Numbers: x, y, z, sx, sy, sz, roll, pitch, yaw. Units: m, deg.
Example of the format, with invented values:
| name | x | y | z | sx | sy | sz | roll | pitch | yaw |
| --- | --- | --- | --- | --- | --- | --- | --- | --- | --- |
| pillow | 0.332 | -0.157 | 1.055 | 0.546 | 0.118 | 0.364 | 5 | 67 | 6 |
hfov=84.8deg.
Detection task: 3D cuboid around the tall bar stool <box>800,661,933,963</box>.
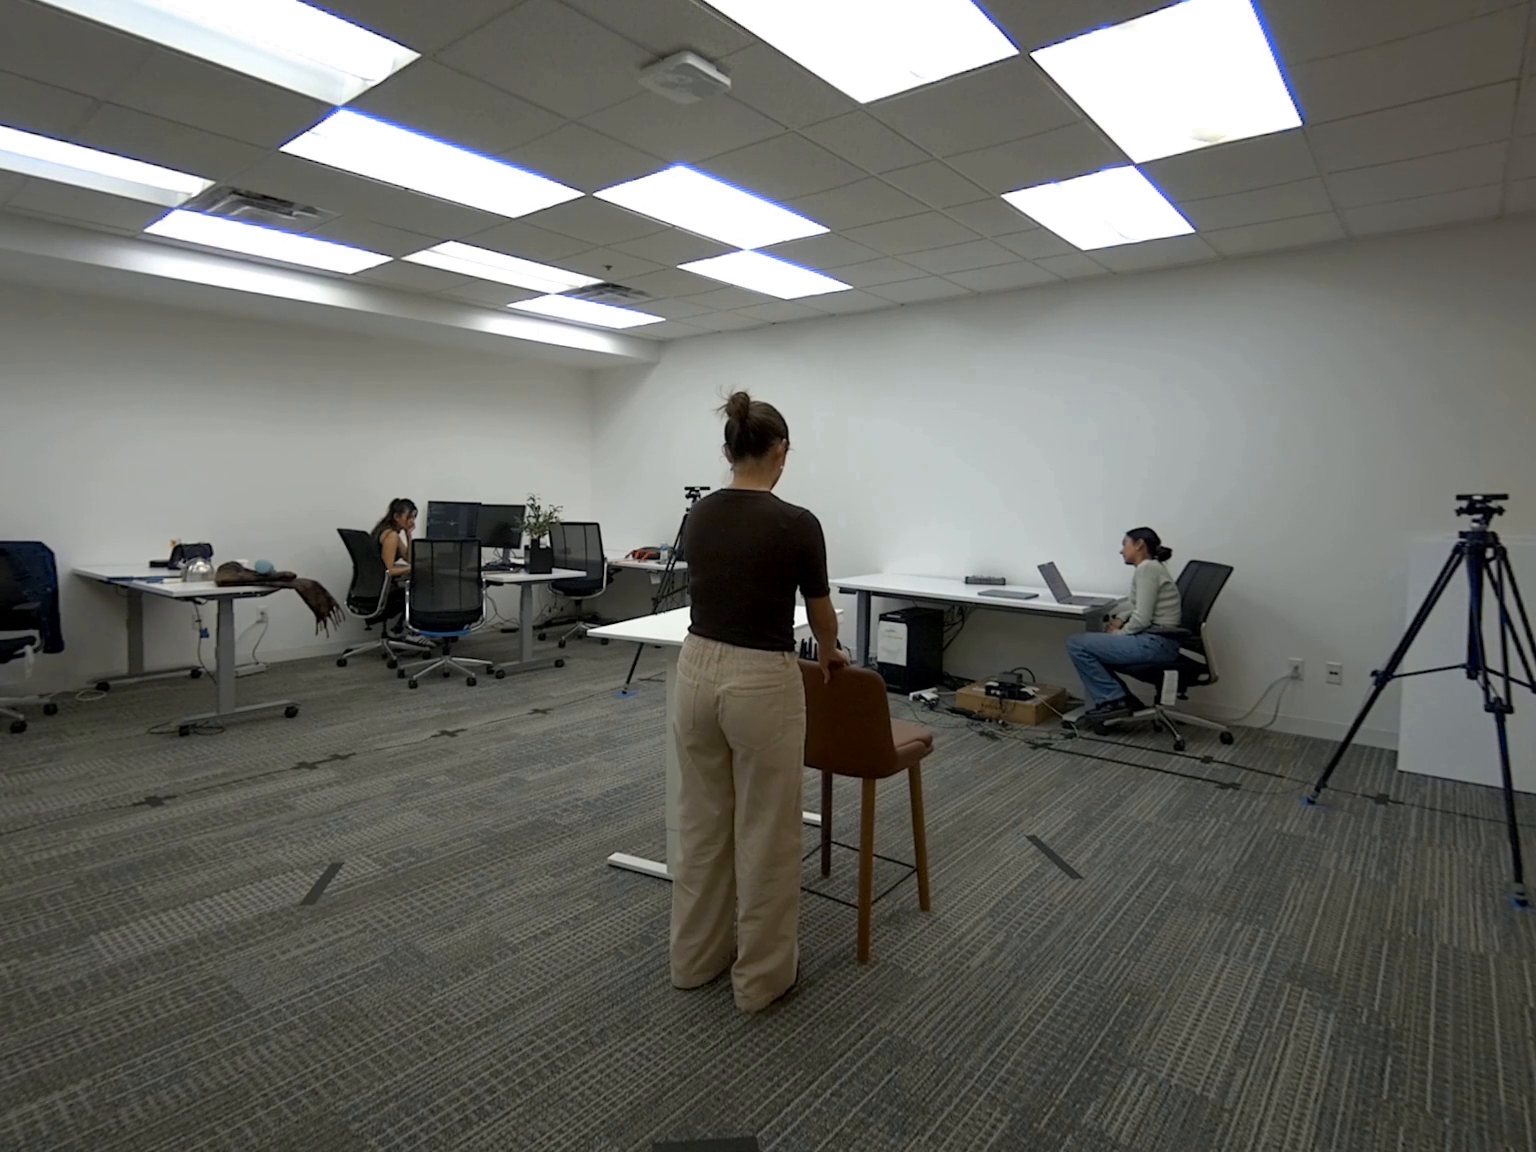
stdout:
| name | x | y | z | sx | sy | sz | roll | pitch | yaw |
| --- | --- | --- | --- | --- | --- | --- | --- | --- | --- |
| tall bar stool | 0.255 | 0.674 | 2.746 | 0.471 | 0.885 | 0.455 | 4 | 7 | 35 |
